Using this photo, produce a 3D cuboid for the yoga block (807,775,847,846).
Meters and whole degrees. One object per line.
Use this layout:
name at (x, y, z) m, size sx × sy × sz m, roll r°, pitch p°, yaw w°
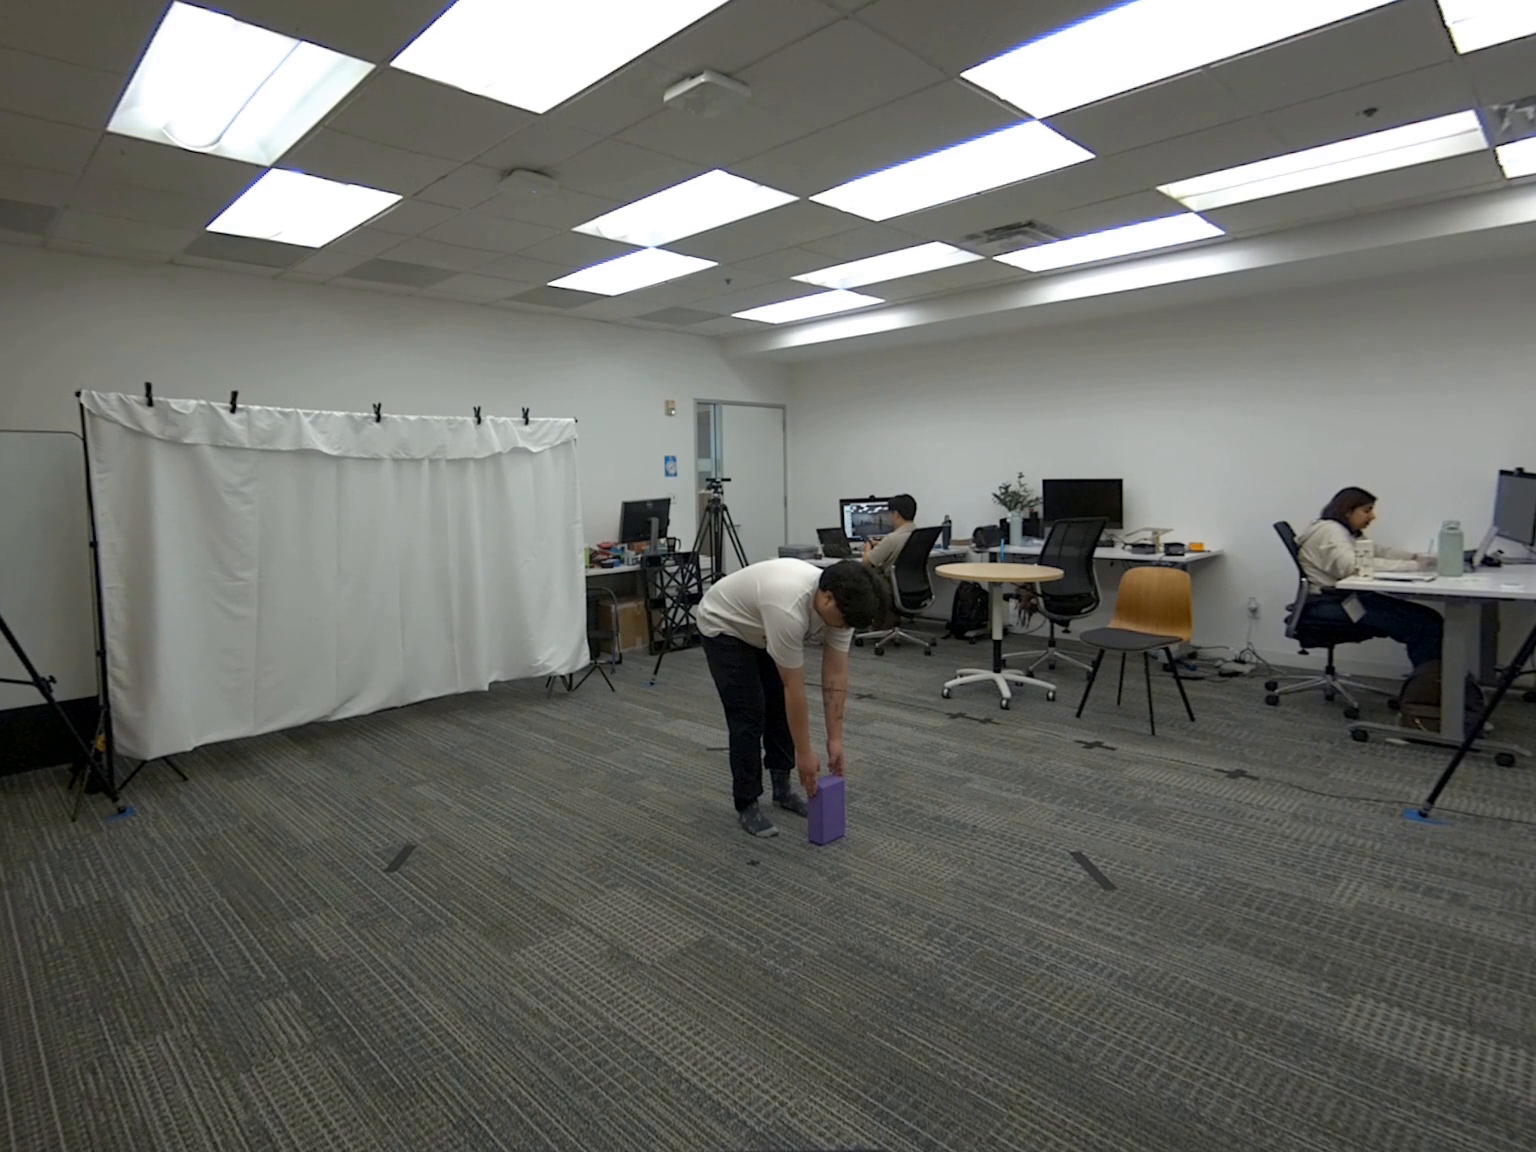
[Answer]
yoga block at (0.229, 0.905, 3.306) m, size 0.078 × 0.229 × 0.145 m, roll -1°, pitch 2°, yaw 45°
